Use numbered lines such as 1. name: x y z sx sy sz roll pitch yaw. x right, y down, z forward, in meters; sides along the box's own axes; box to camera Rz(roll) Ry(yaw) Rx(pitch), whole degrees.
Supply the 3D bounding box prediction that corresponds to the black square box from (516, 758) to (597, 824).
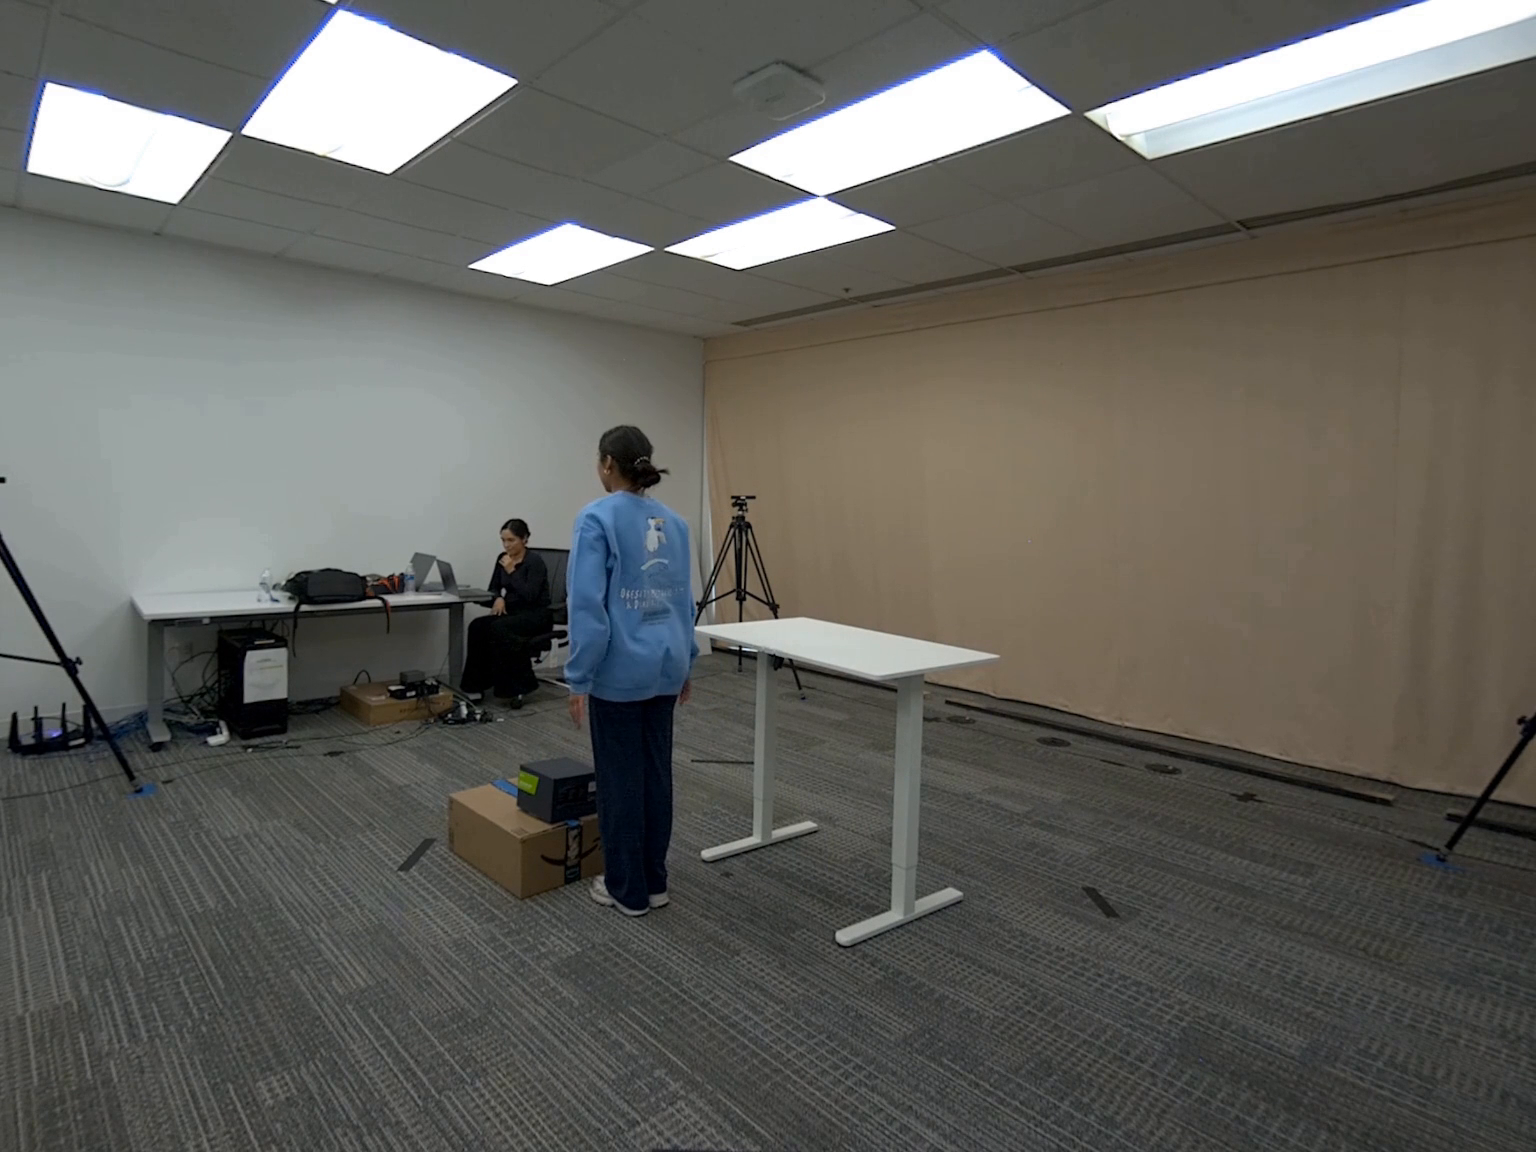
1. black square box: -0.772 0.780 3.111 0.234 0.156 0.211 5 2 42
